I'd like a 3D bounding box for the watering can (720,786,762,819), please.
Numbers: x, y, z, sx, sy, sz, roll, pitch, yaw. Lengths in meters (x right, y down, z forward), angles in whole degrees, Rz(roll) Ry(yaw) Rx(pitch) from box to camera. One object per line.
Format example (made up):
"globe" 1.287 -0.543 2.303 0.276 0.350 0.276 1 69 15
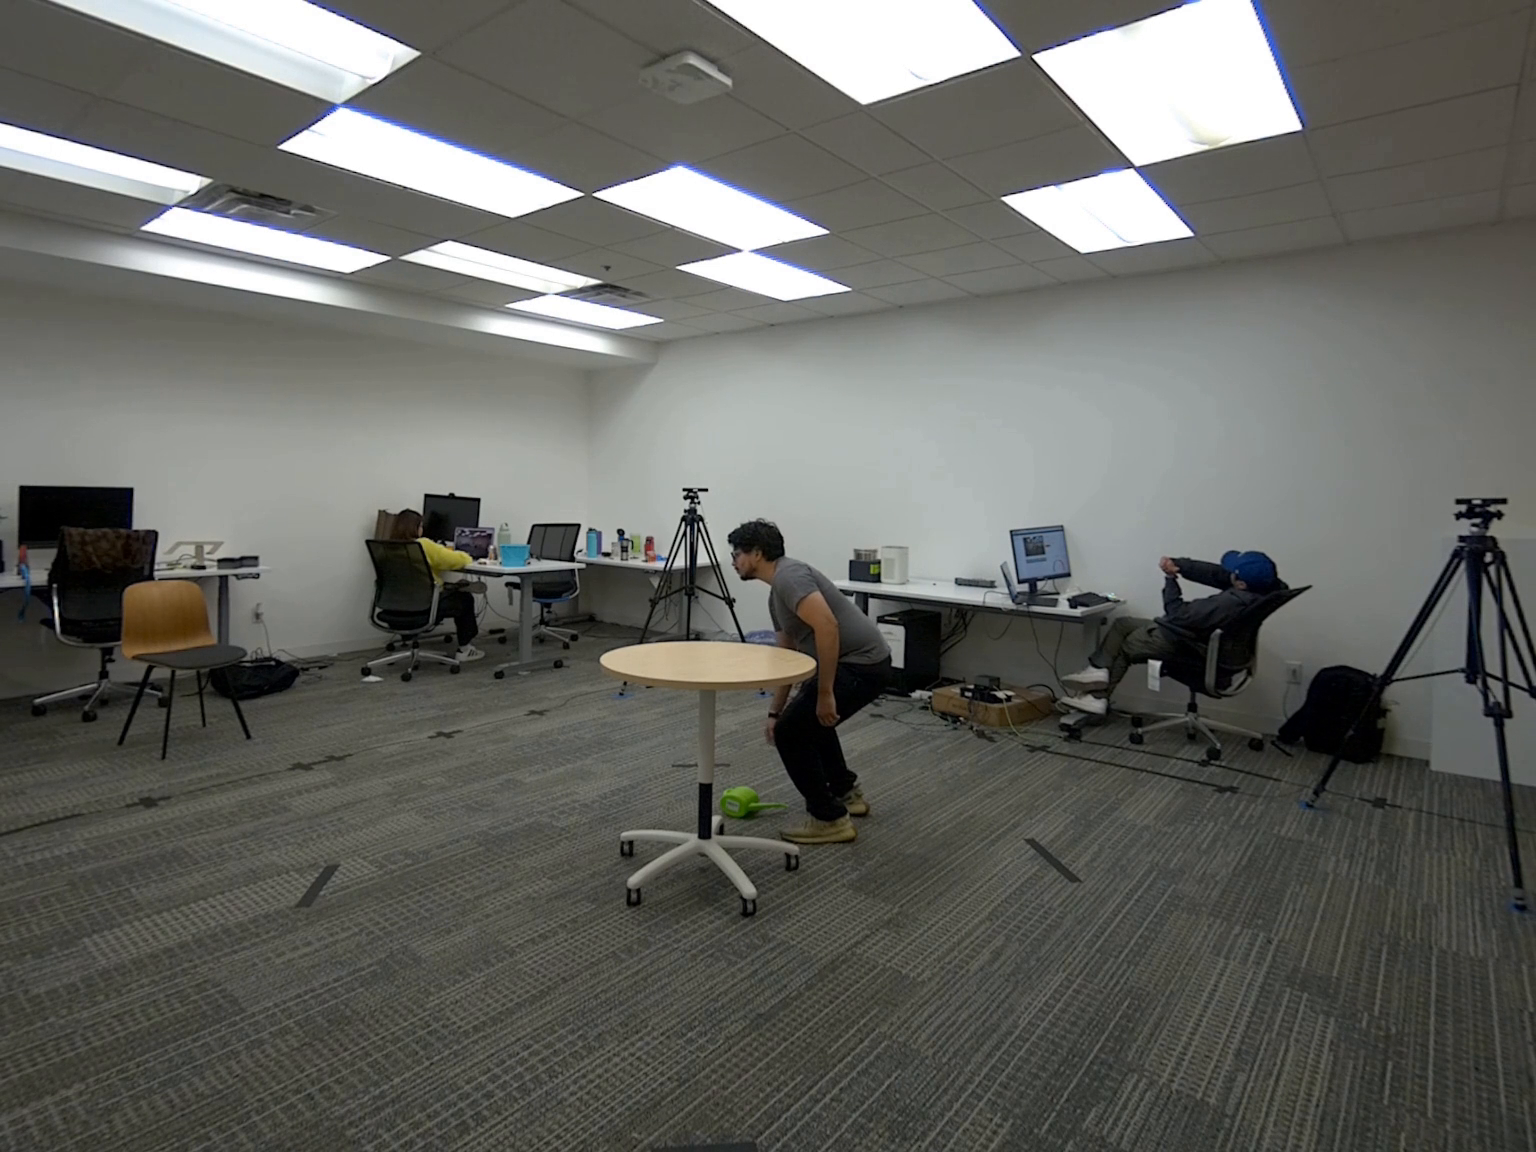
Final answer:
"watering can" -0.083 0.967 3.669 0.285 0.098 0.173 -3 3 26
